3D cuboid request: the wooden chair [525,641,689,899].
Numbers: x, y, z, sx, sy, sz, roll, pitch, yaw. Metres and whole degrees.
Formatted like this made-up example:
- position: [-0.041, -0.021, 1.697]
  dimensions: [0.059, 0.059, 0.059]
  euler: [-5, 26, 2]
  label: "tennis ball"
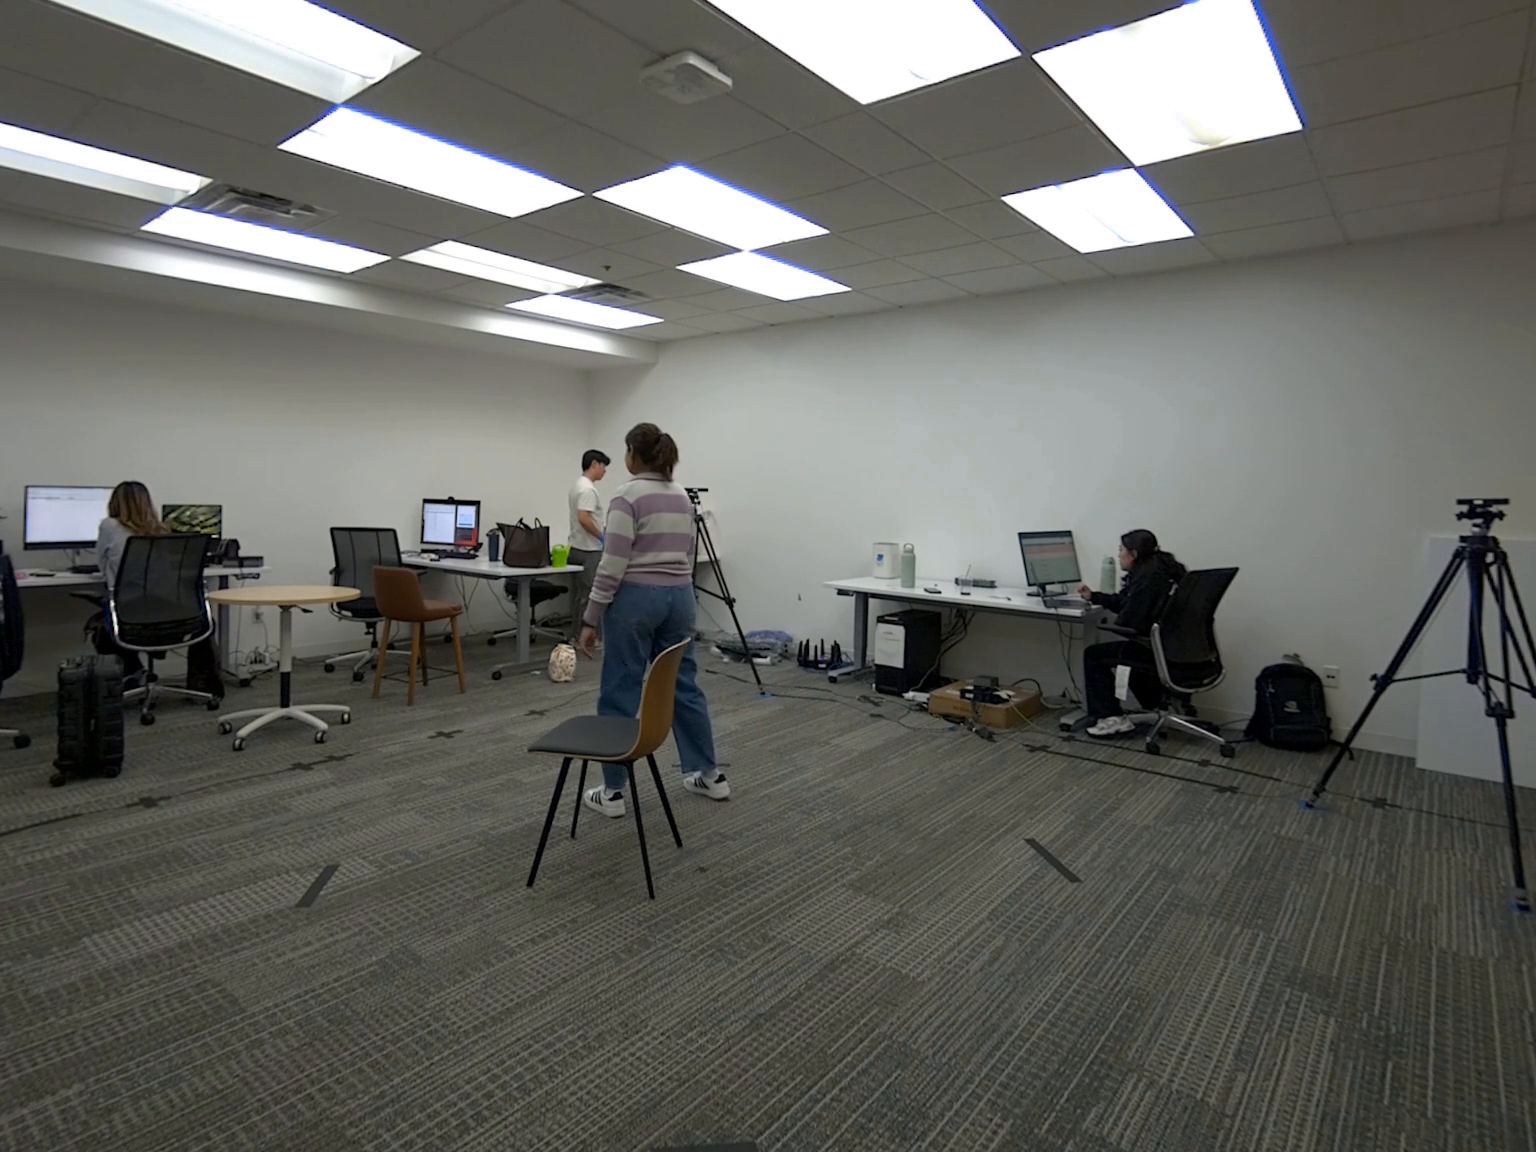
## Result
- position: [-0.596, 0.637, 3.102]
  dimensions: [0.529, 0.875, 0.474]
  euler: [5, 4, 8]
  label: "wooden chair"
